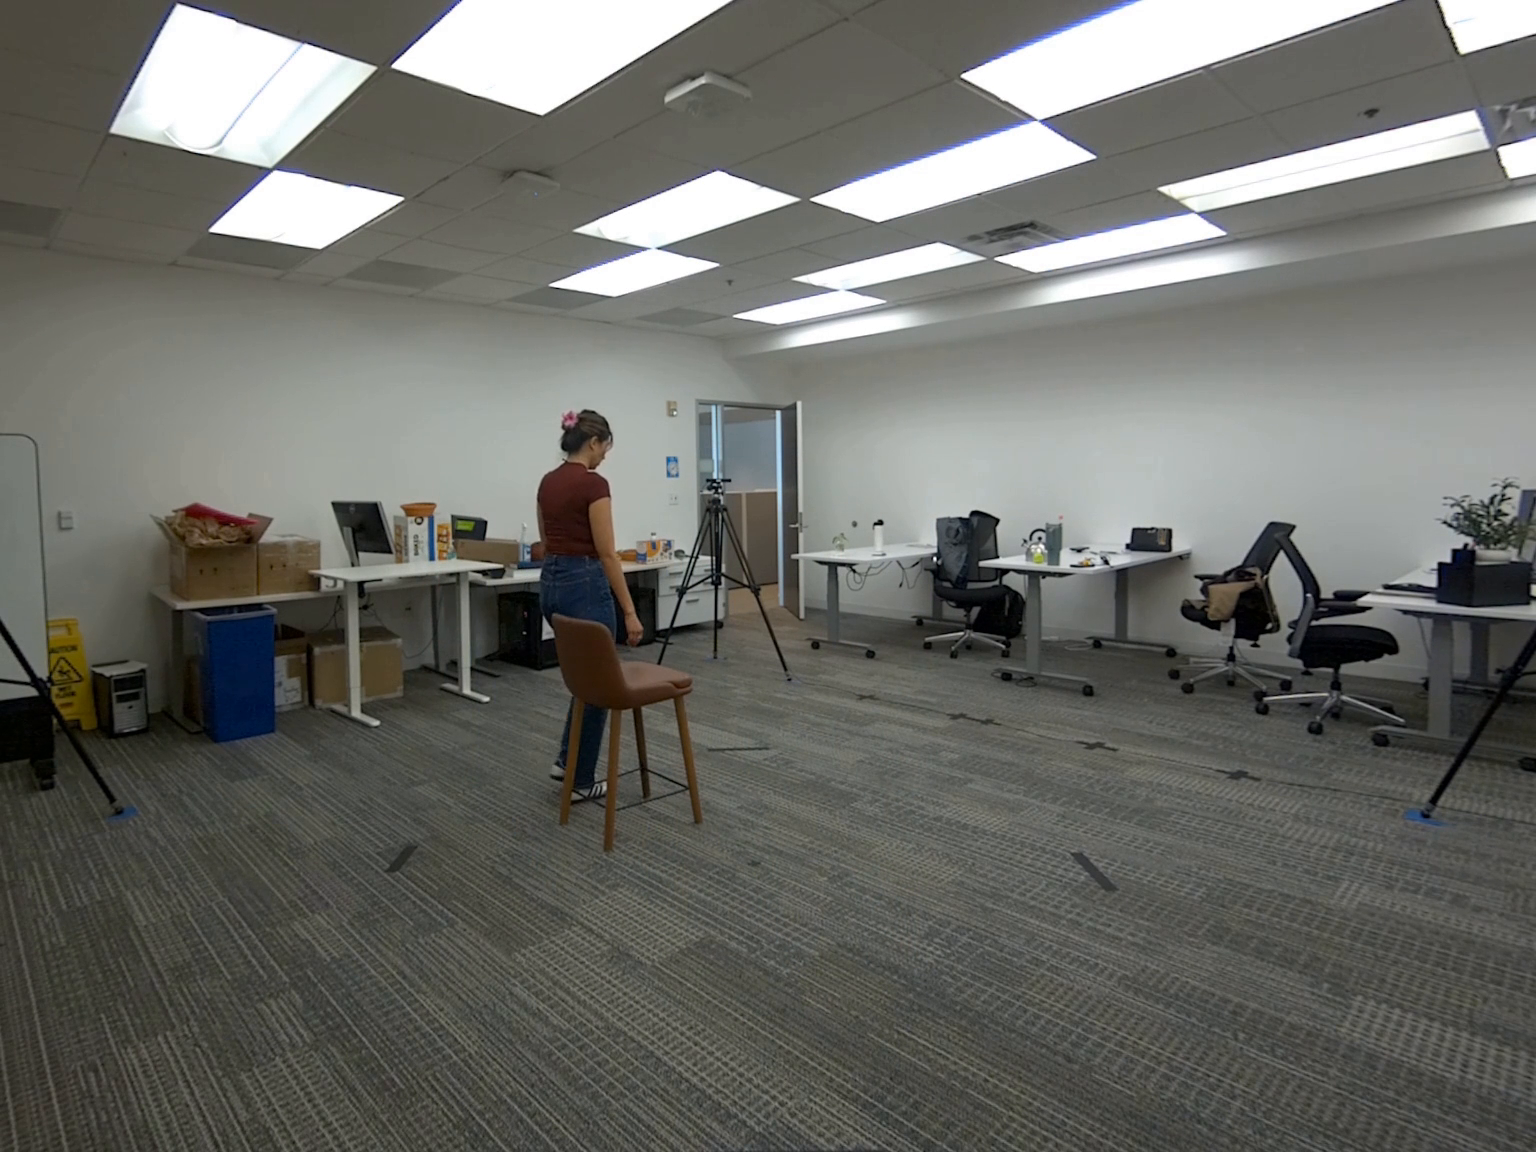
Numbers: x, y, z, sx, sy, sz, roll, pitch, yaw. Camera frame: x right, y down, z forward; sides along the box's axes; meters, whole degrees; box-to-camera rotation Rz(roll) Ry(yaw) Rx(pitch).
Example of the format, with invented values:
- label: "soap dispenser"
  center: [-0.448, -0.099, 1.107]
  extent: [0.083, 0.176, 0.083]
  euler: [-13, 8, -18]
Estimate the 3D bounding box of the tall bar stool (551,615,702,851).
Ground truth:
- label: "tall bar stool"
  center: [-0.580, 0.577, 3.471]
  extent: [0.456, 0.886, 0.470]
  euler: [-7, 6, -40]
